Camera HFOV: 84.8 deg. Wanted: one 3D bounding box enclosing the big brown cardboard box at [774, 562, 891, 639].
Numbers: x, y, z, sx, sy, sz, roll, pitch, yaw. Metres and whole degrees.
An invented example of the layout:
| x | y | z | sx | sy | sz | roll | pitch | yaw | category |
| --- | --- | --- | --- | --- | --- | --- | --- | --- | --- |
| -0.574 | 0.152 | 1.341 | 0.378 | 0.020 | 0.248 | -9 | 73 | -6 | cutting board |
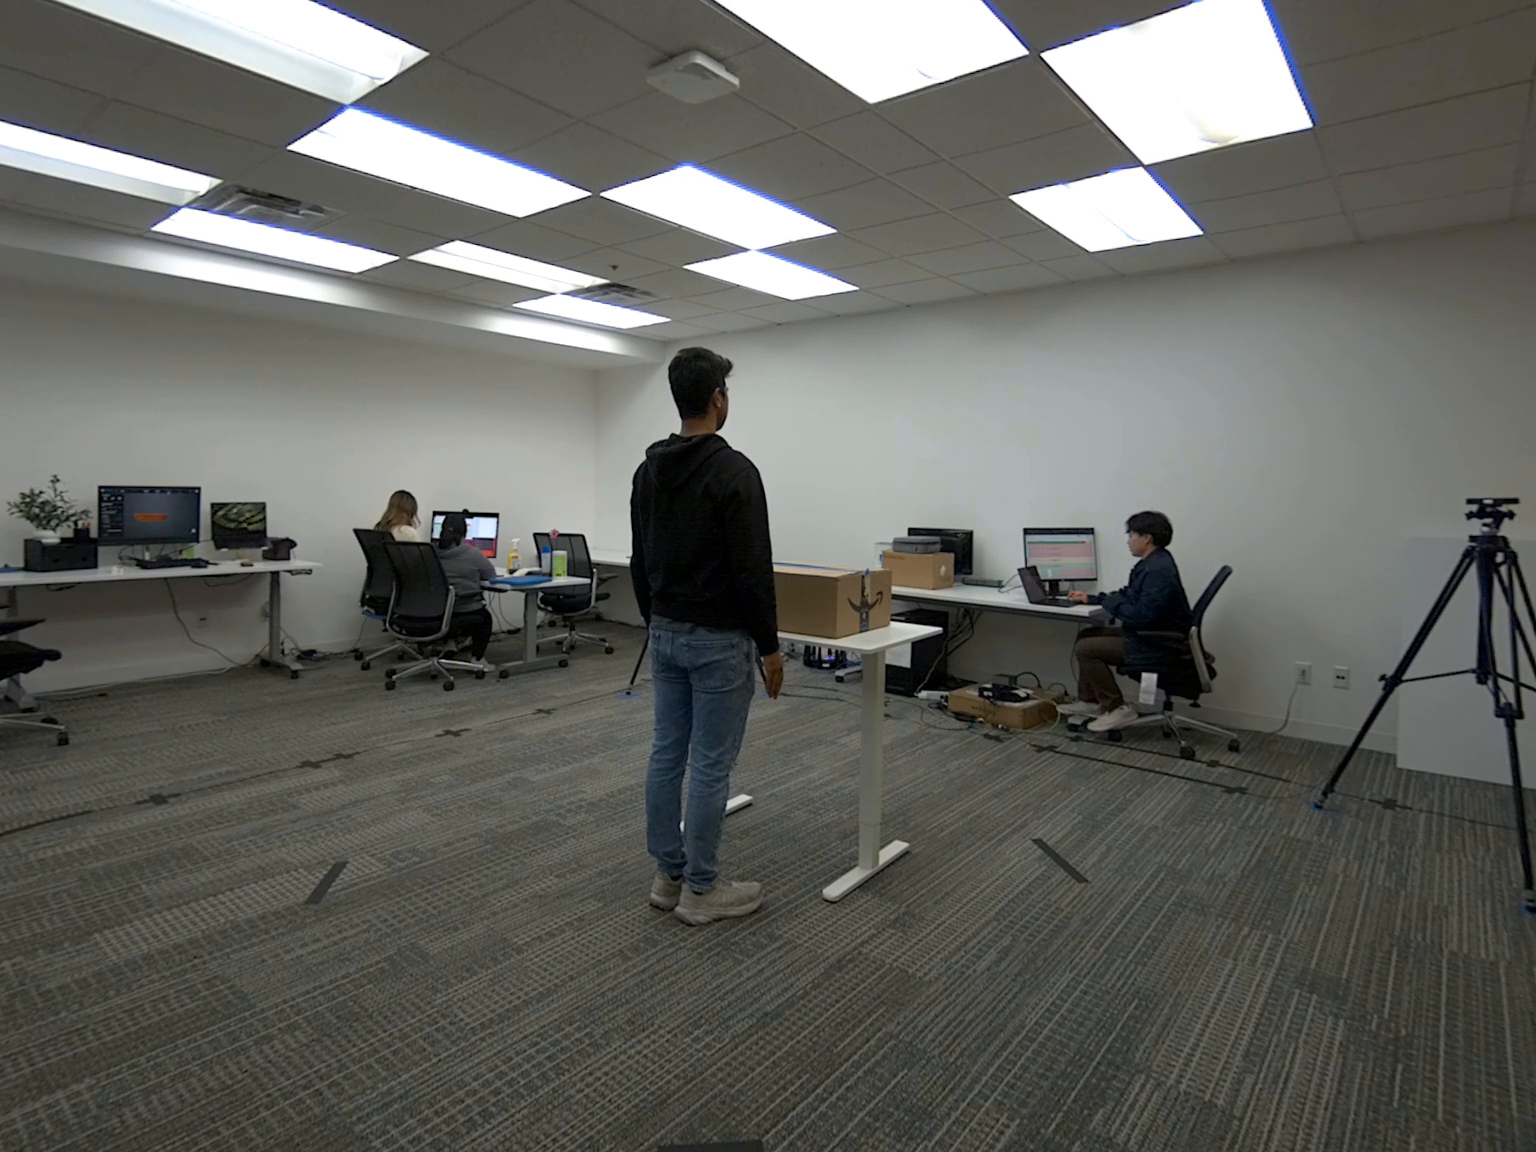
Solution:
| x | y | z | sx | sy | sz | roll | pitch | yaw | category |
| --- | --- | --- | --- | --- | --- | --- | --- | --- | --- |
| 0.102 | 0.067 | 3.234 | 0.608 | 0.232 | 0.406 | 6 | 7 | 35 | big brown cardboard box |
